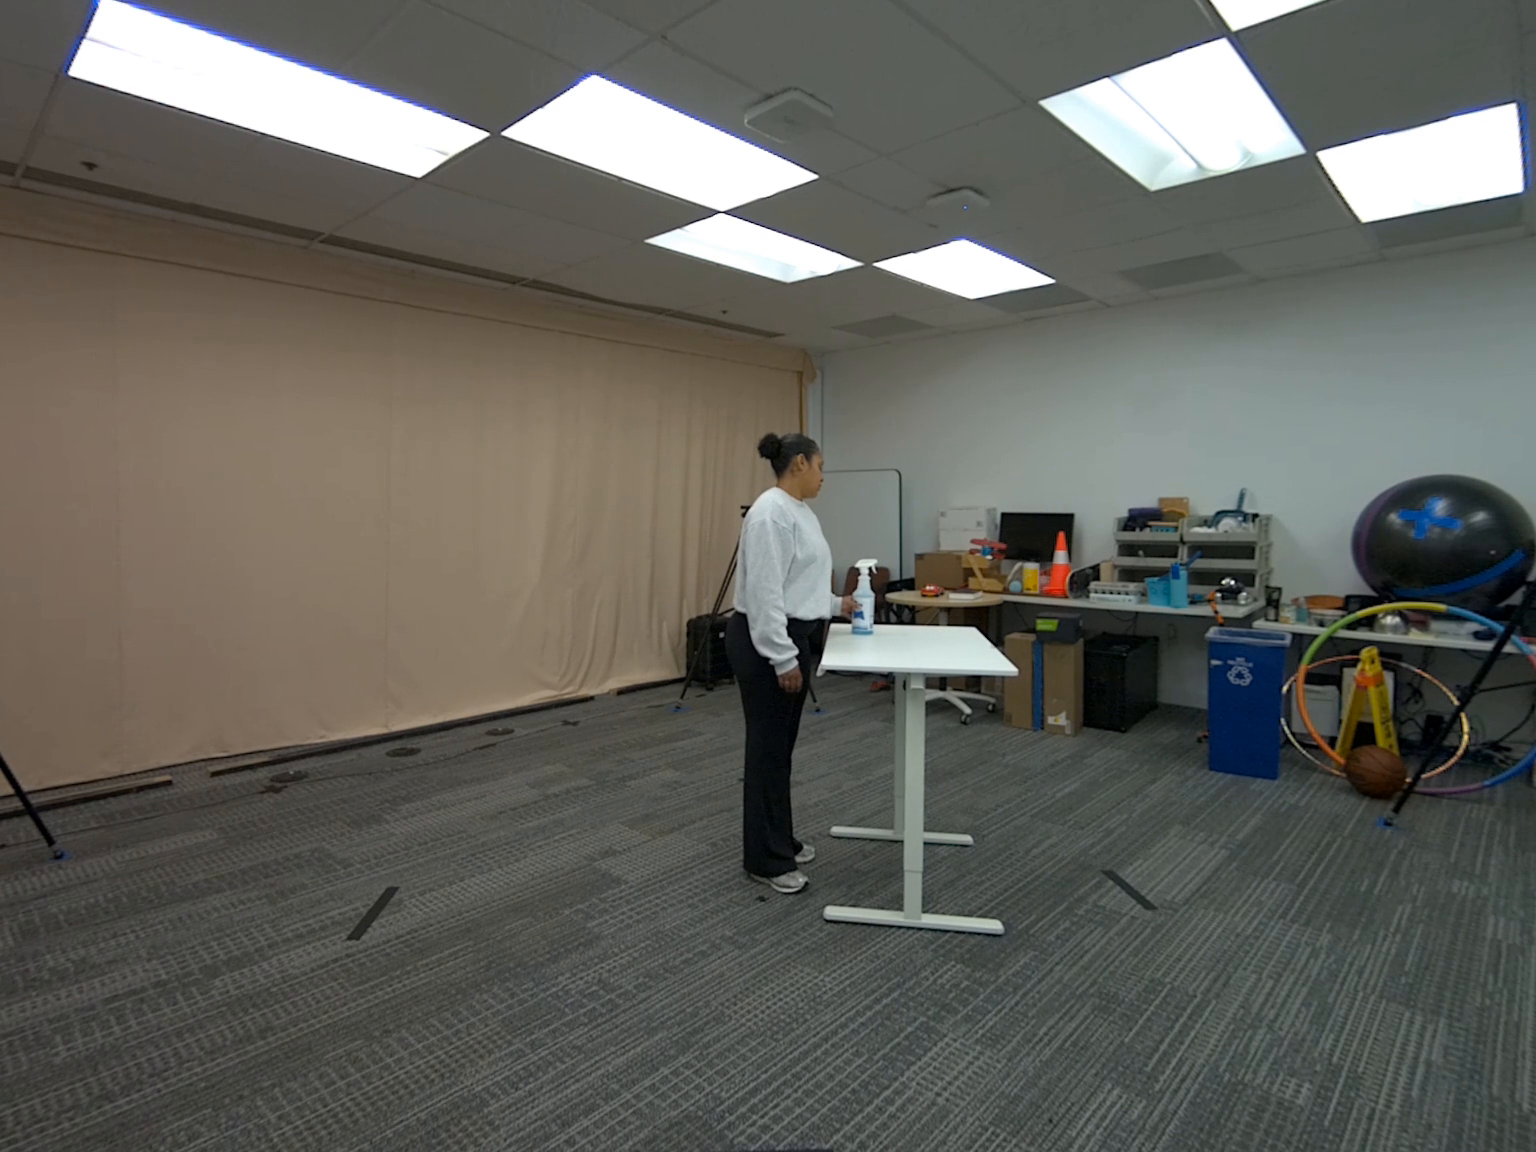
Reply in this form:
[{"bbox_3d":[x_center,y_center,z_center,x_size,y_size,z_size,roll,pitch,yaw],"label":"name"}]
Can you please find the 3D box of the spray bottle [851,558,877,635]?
[{"bbox_3d":[0.396,0.078,3.345,0.091,0.297,0.085,4,1,14],"label":"spray bottle"}]
